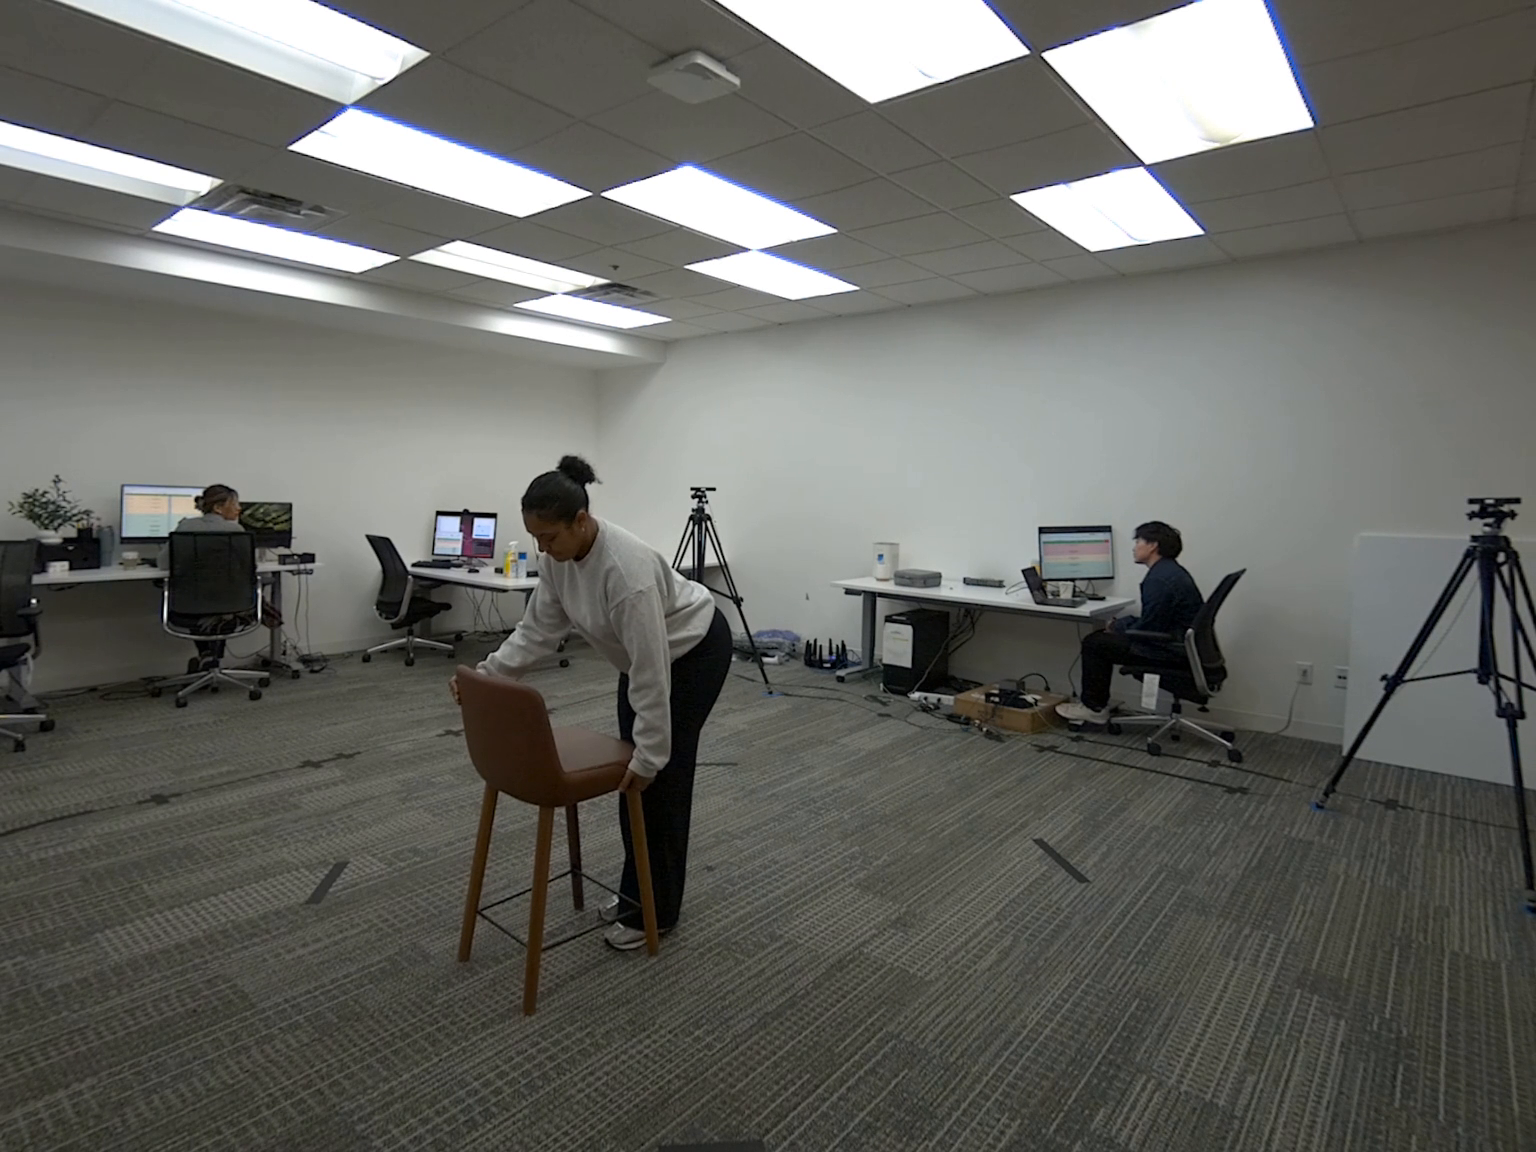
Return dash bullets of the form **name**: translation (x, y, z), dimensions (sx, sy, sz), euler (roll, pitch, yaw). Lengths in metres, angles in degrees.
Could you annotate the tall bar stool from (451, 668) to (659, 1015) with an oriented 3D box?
- **tall bar stool**: translation (-0.632, 0.681, 2.481), dimensions (0.472, 0.886, 0.454), euler (4, 6, 43)
